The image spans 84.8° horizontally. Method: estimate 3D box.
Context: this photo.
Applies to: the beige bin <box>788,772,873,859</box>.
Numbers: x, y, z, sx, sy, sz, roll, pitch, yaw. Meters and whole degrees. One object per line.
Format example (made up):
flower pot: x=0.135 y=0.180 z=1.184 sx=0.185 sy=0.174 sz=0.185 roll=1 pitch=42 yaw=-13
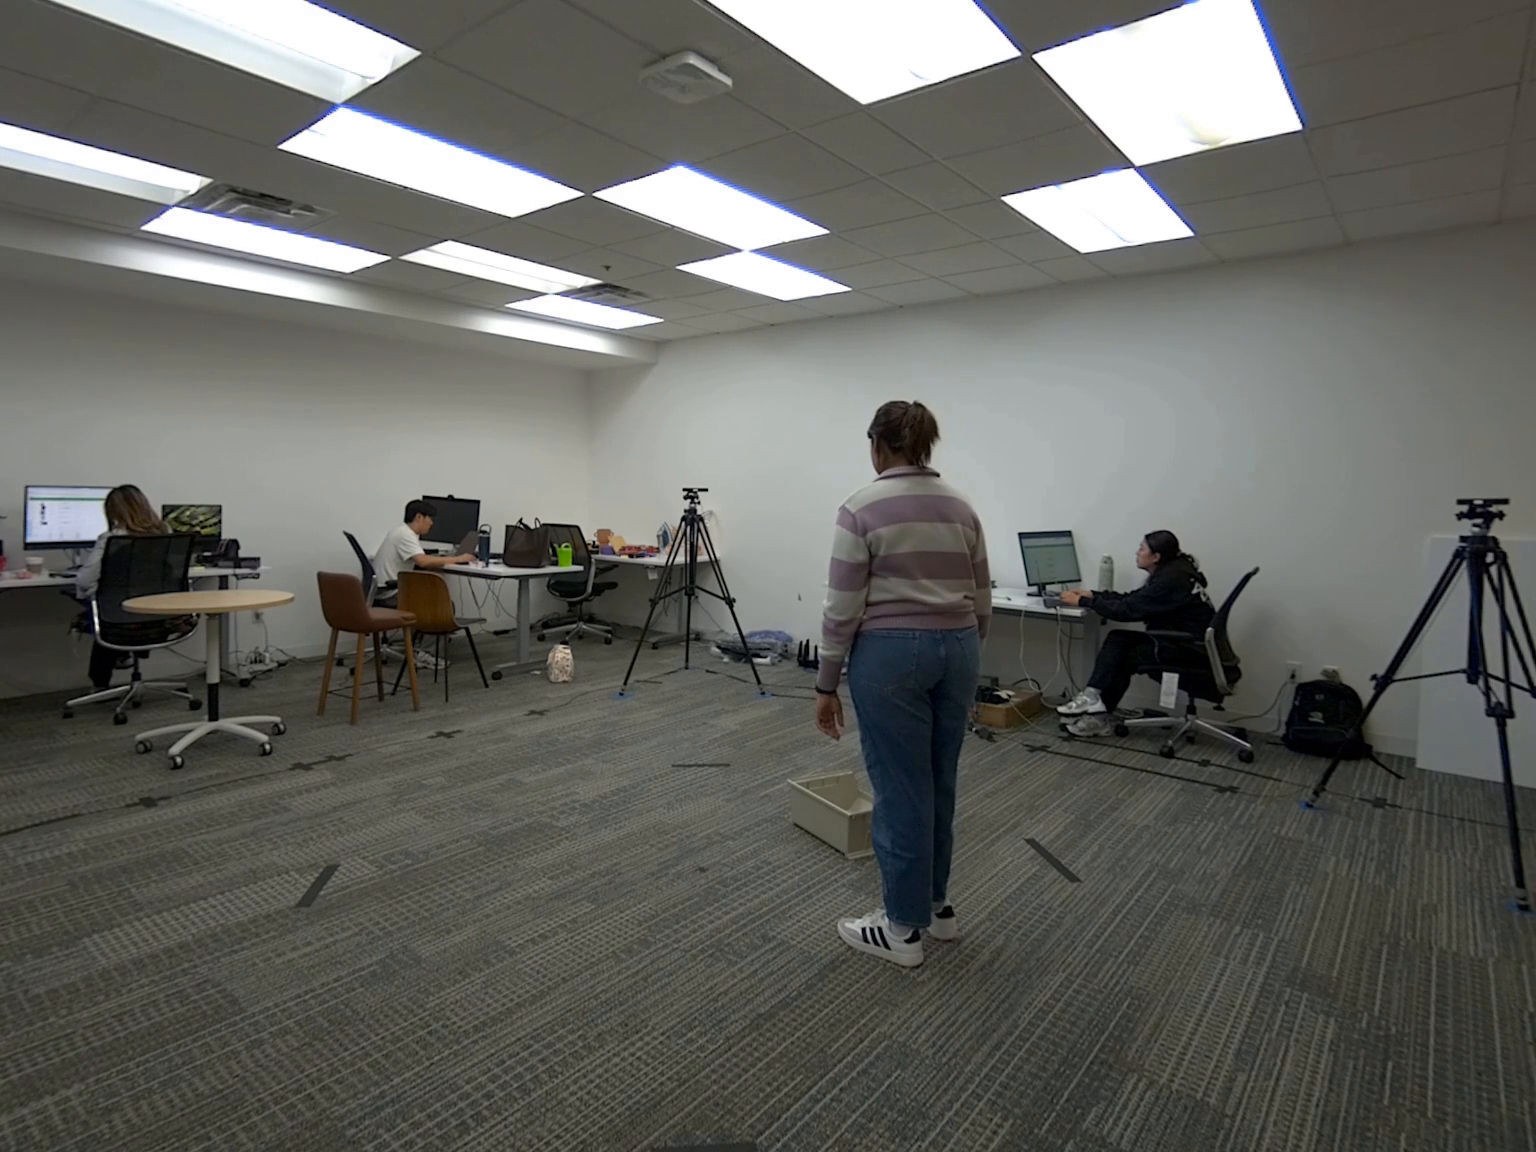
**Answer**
beige bin: x=0.341 y=0.958 z=3.479 sx=0.367 sy=0.188 sz=0.436 roll=-3 pitch=7 yaw=-31
